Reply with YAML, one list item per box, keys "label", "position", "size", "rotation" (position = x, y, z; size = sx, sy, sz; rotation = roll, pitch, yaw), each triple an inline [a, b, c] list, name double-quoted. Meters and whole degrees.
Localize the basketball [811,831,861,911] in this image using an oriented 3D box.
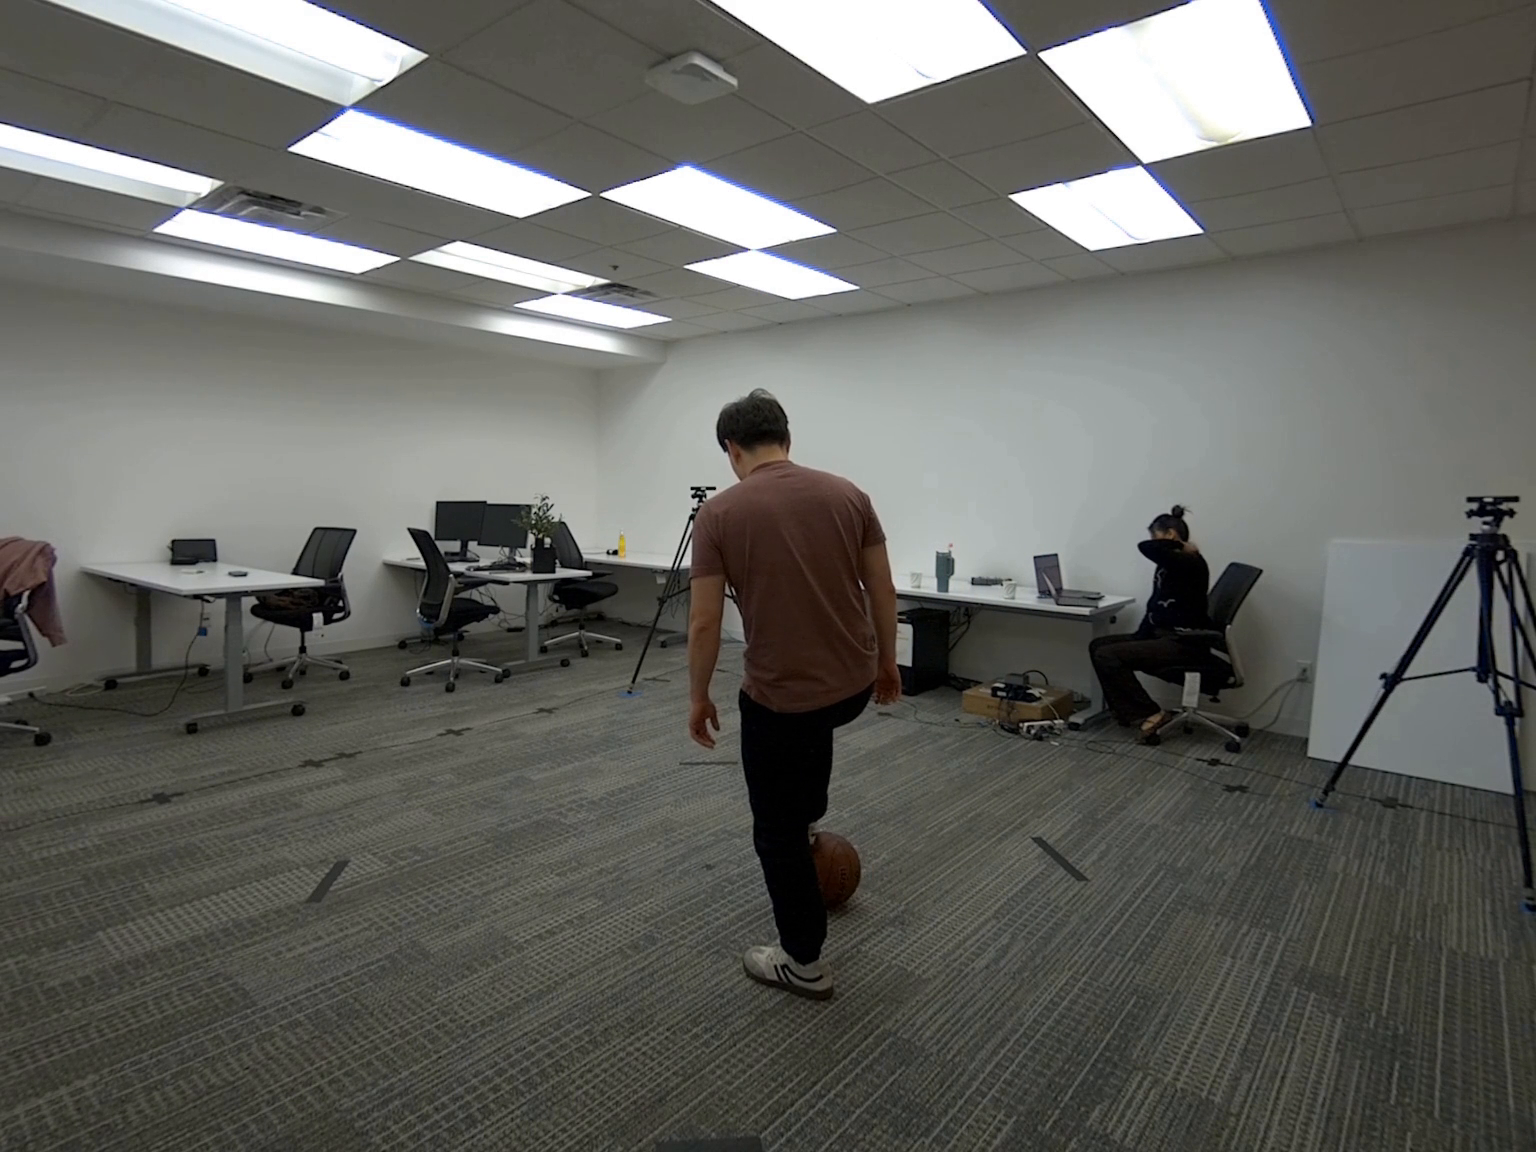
- label: "basketball"
  position: [0.187, 0.977, 2.858]
  size: [0.235, 0.235, 0.237]
  rotation: [1, 4, -2]
